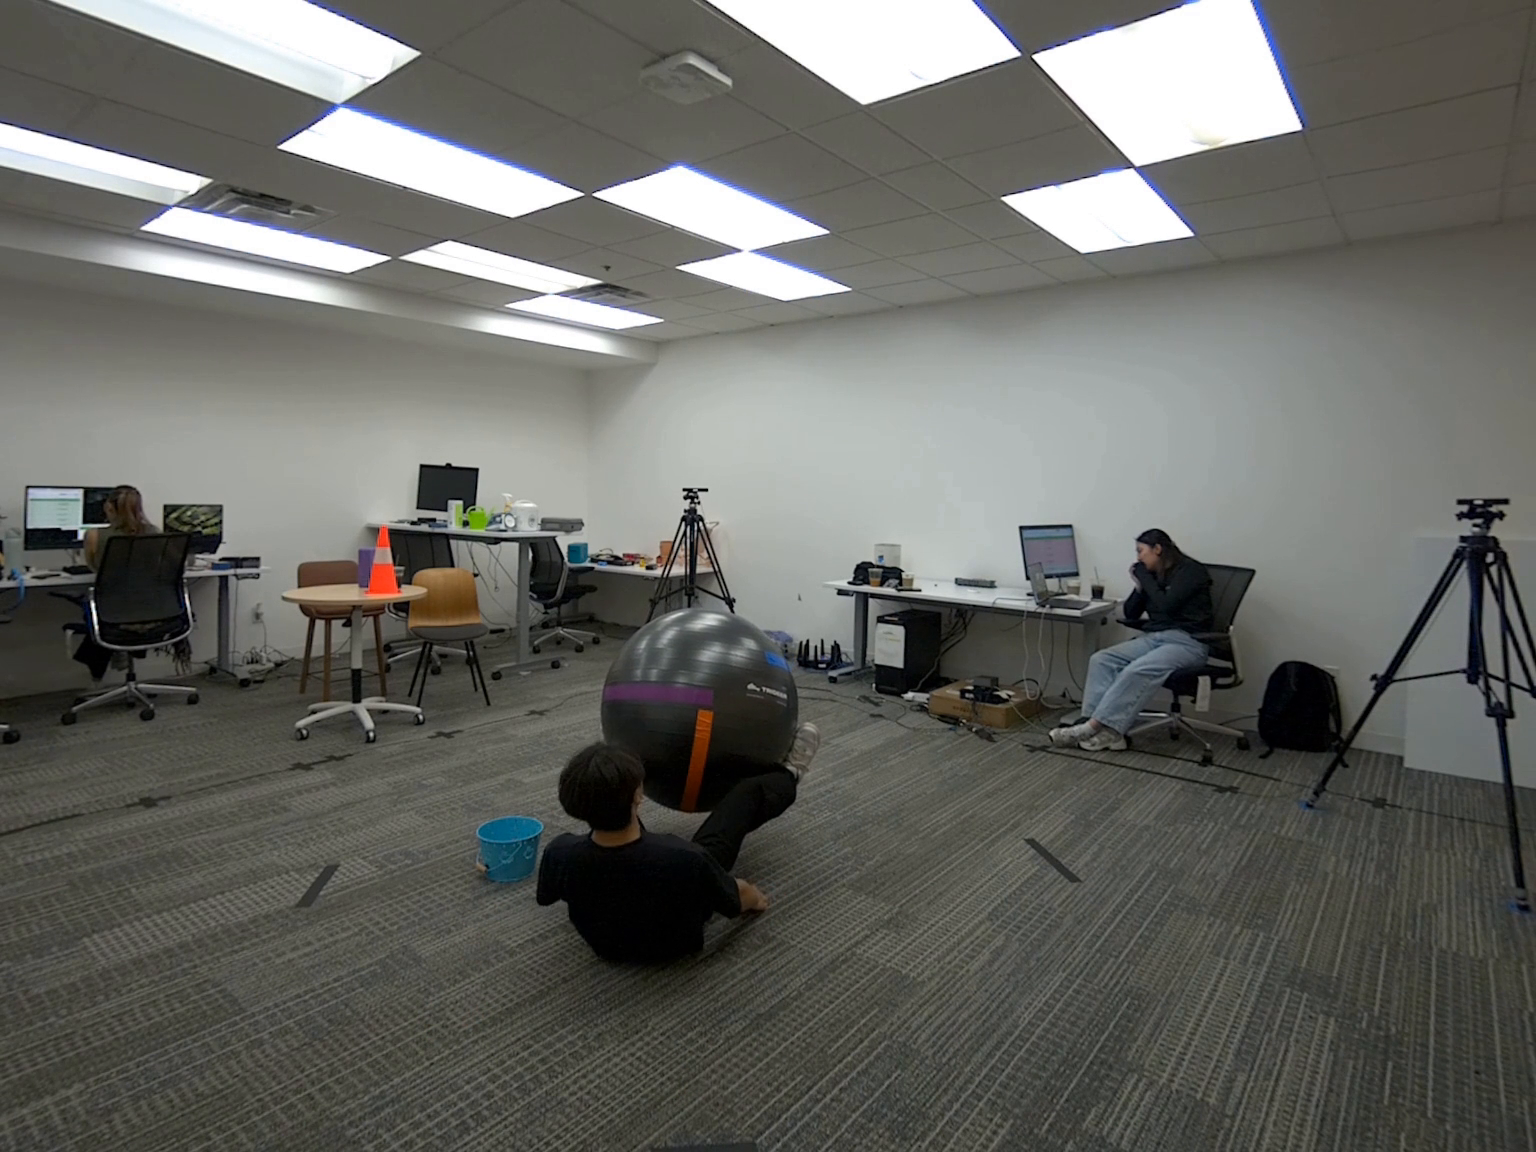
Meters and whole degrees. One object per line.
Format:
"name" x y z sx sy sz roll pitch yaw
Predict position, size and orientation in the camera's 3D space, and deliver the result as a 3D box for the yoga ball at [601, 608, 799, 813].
"yoga ball" -0.271 0.503 3.260 0.757 0.755 0.762 1 4 -2
